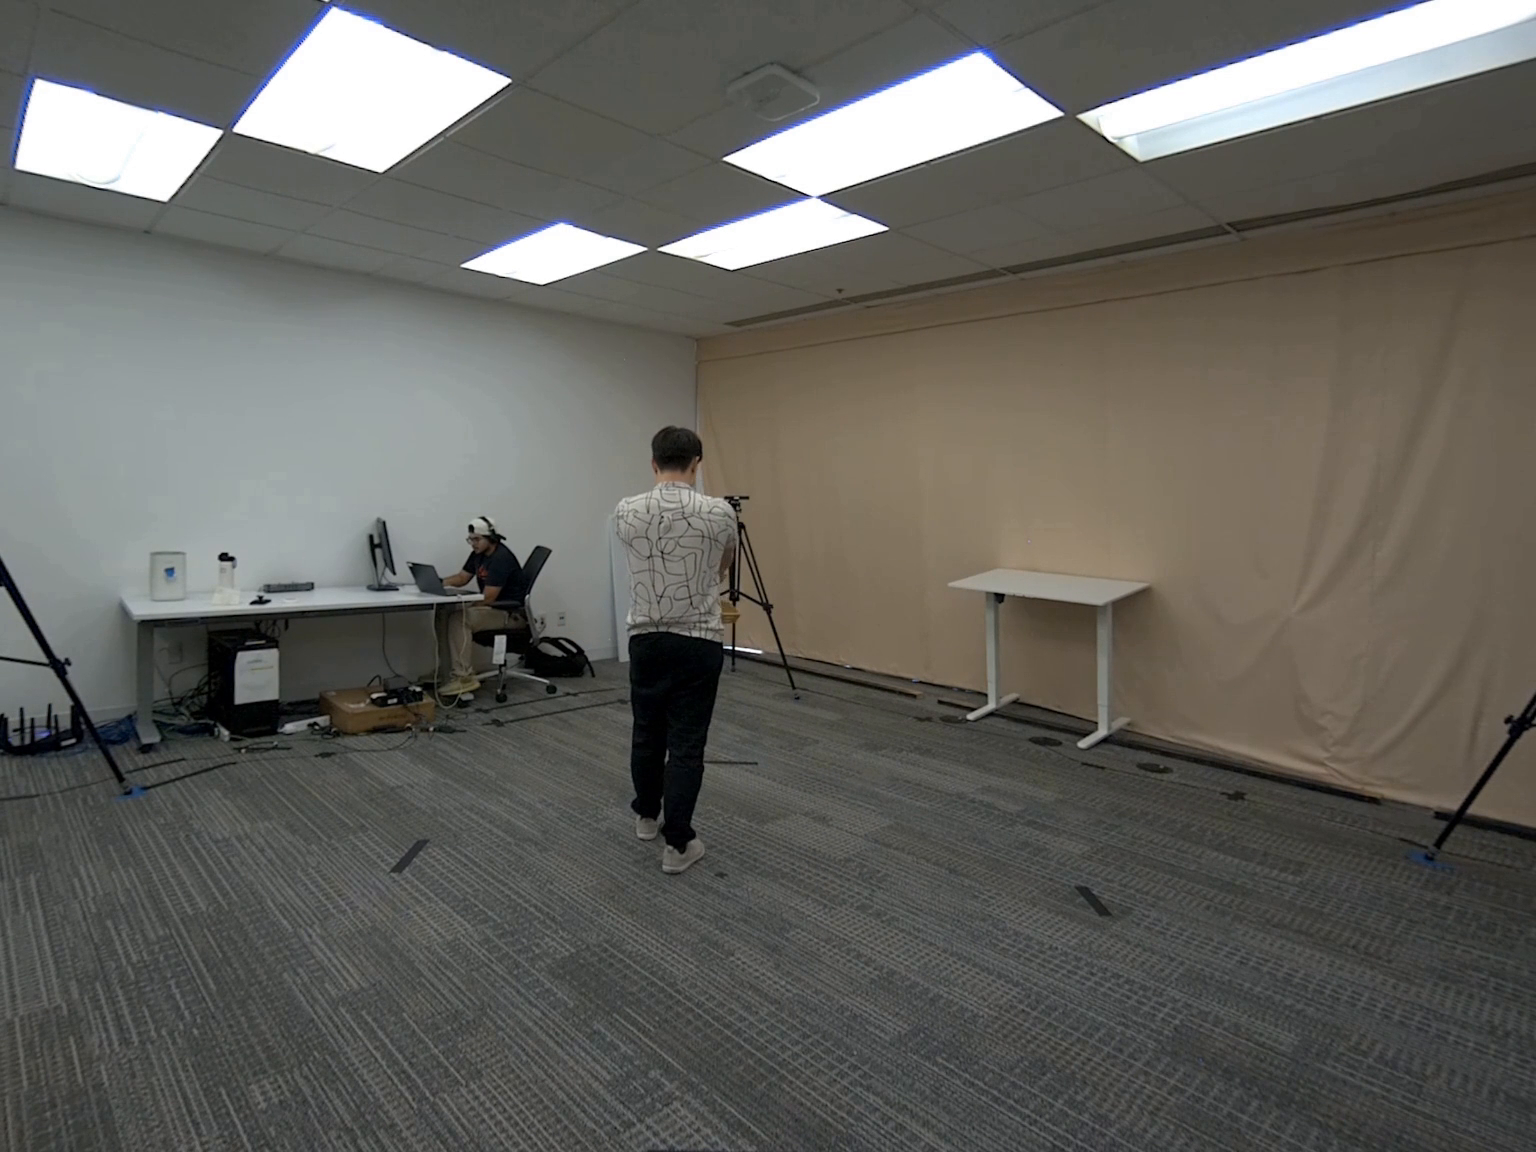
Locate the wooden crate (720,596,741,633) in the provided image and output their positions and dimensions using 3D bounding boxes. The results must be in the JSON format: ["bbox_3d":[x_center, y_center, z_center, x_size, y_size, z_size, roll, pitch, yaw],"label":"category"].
[{"bbox_3d":[-0.275,0.052,3.731,0.306,0.273,0.320,9,-1,13],"label":"wooden crate"}]
